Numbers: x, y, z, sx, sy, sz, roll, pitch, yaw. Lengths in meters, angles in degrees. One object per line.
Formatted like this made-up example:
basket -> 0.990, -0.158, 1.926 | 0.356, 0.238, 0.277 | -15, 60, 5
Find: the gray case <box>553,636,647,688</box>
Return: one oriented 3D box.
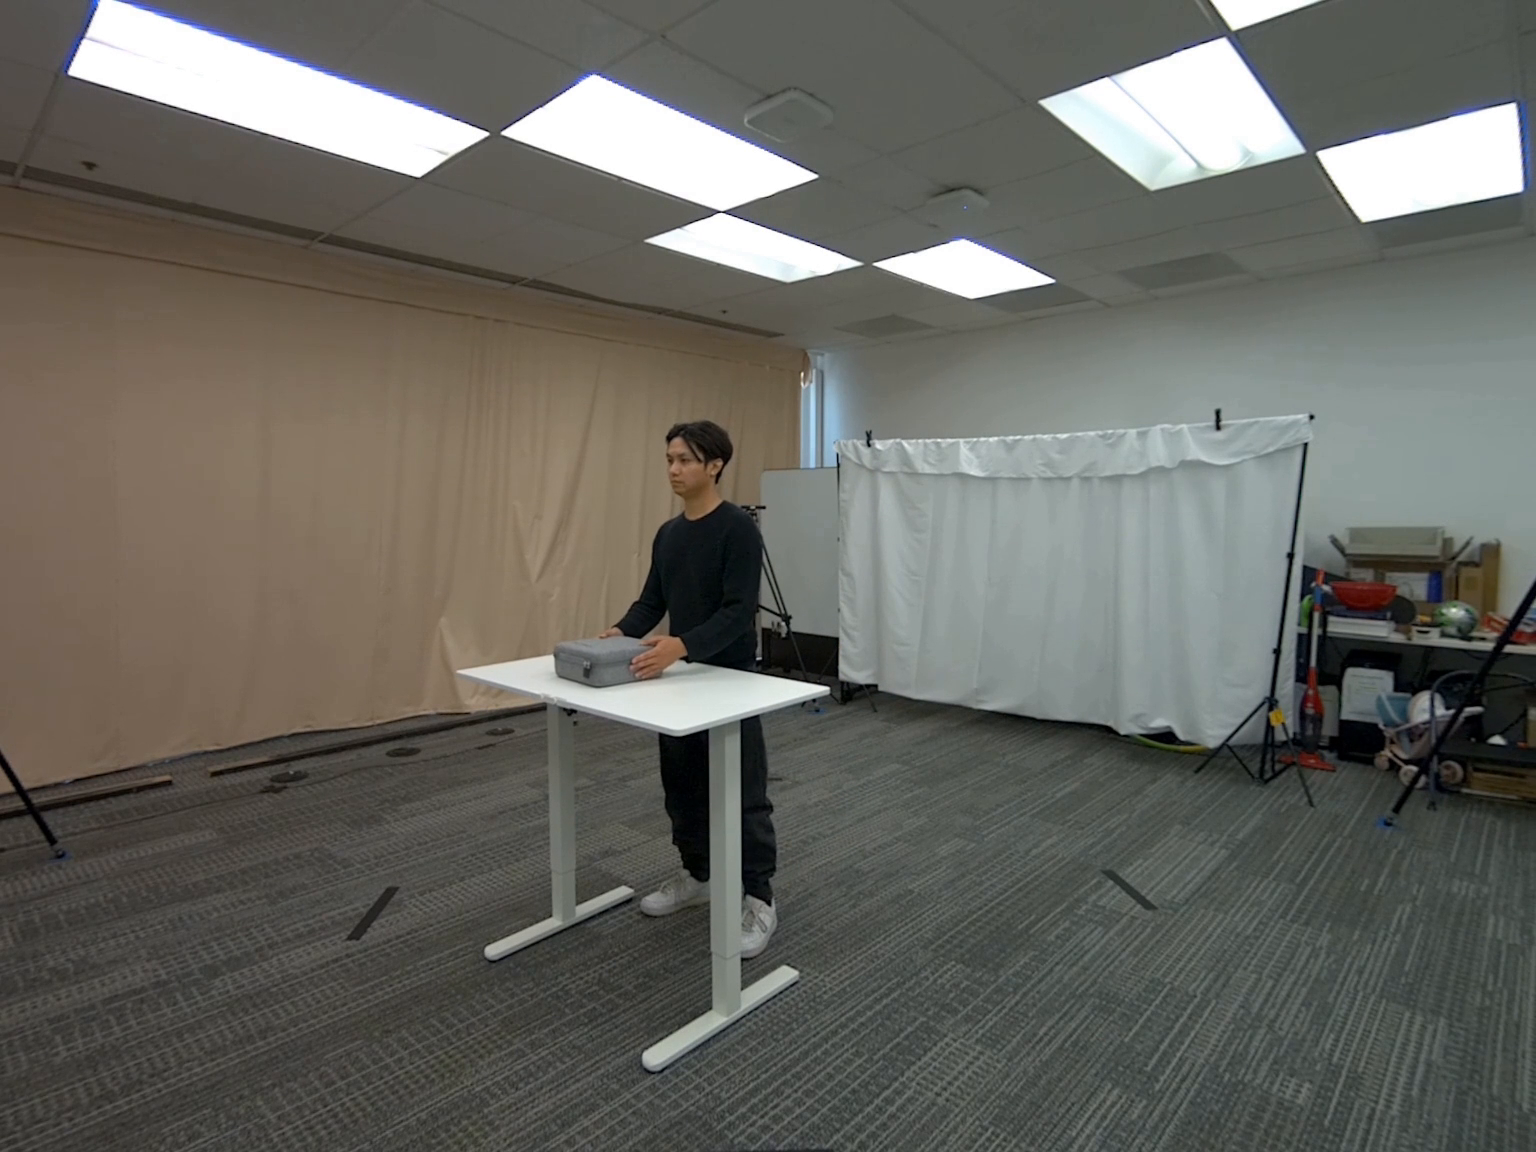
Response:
gray case -> -0.483, 0.253, 2.519 | 0.253, 0.104, 0.265 | -6, 6, -43
